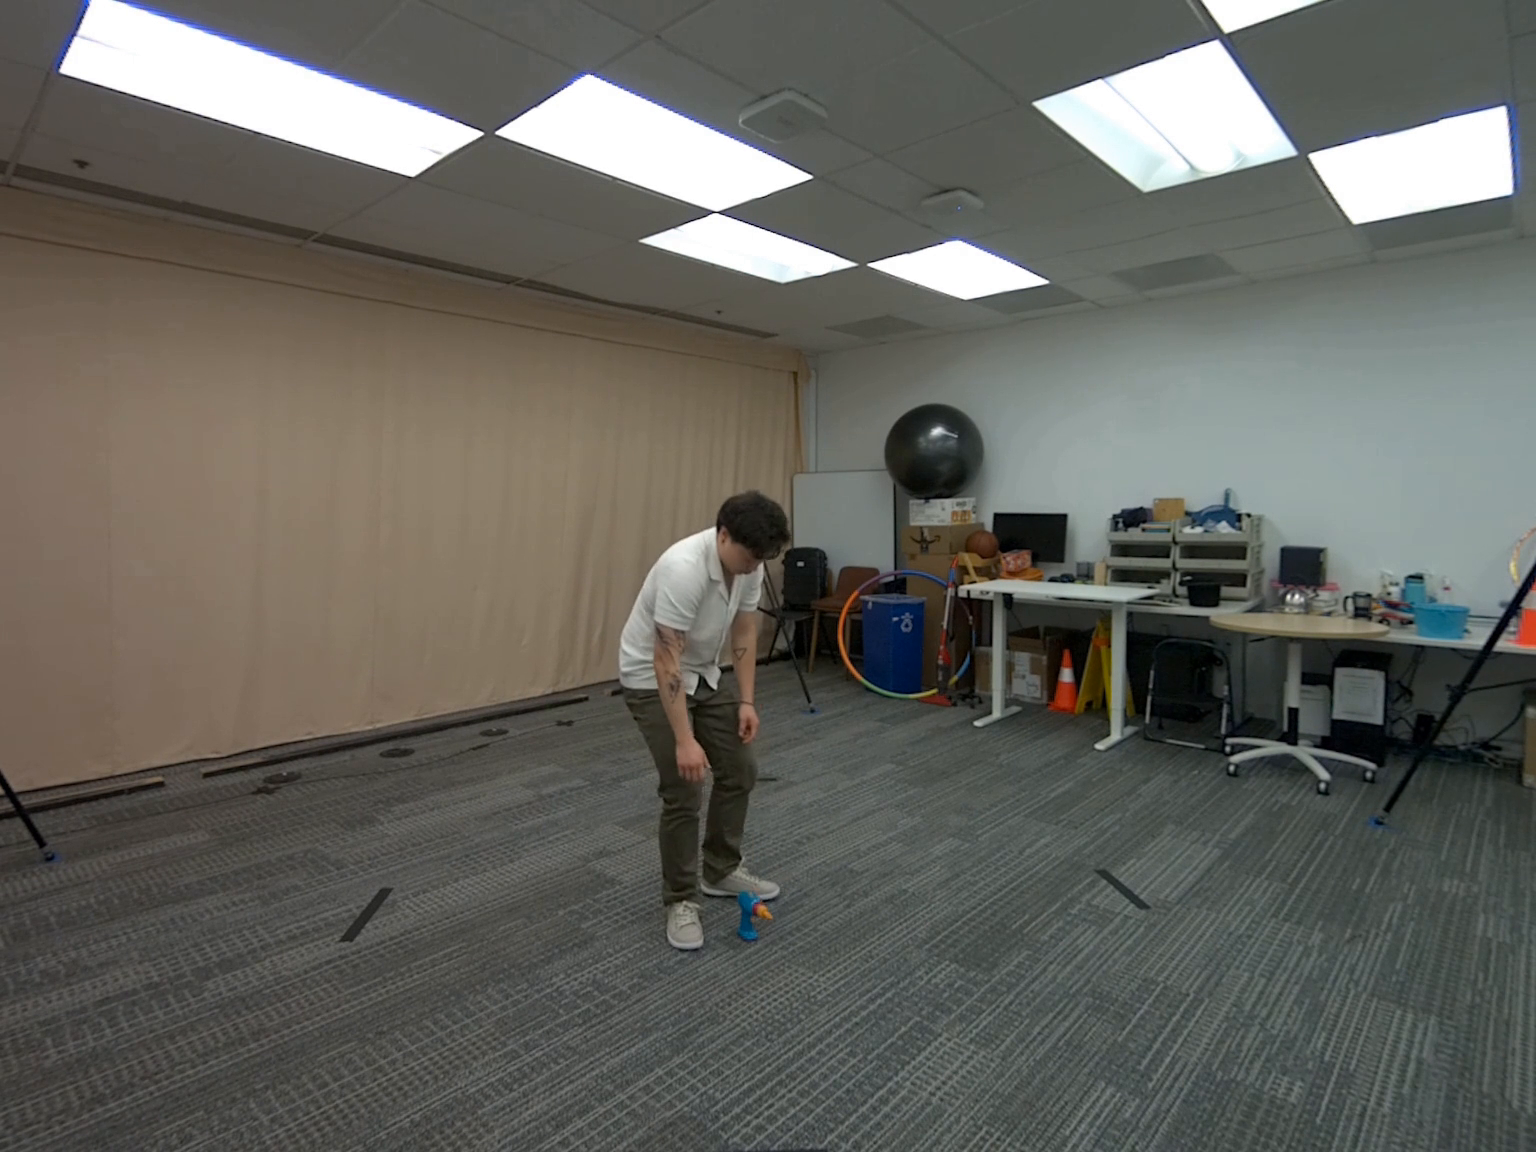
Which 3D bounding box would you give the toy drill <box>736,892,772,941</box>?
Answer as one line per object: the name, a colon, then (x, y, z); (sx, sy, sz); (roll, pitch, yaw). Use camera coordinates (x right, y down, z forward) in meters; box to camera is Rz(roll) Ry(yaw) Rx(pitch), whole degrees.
toy drill: (-0.035, 1.098, 2.683); (0.059, 0.146, 0.175); (2, 4, -37)
